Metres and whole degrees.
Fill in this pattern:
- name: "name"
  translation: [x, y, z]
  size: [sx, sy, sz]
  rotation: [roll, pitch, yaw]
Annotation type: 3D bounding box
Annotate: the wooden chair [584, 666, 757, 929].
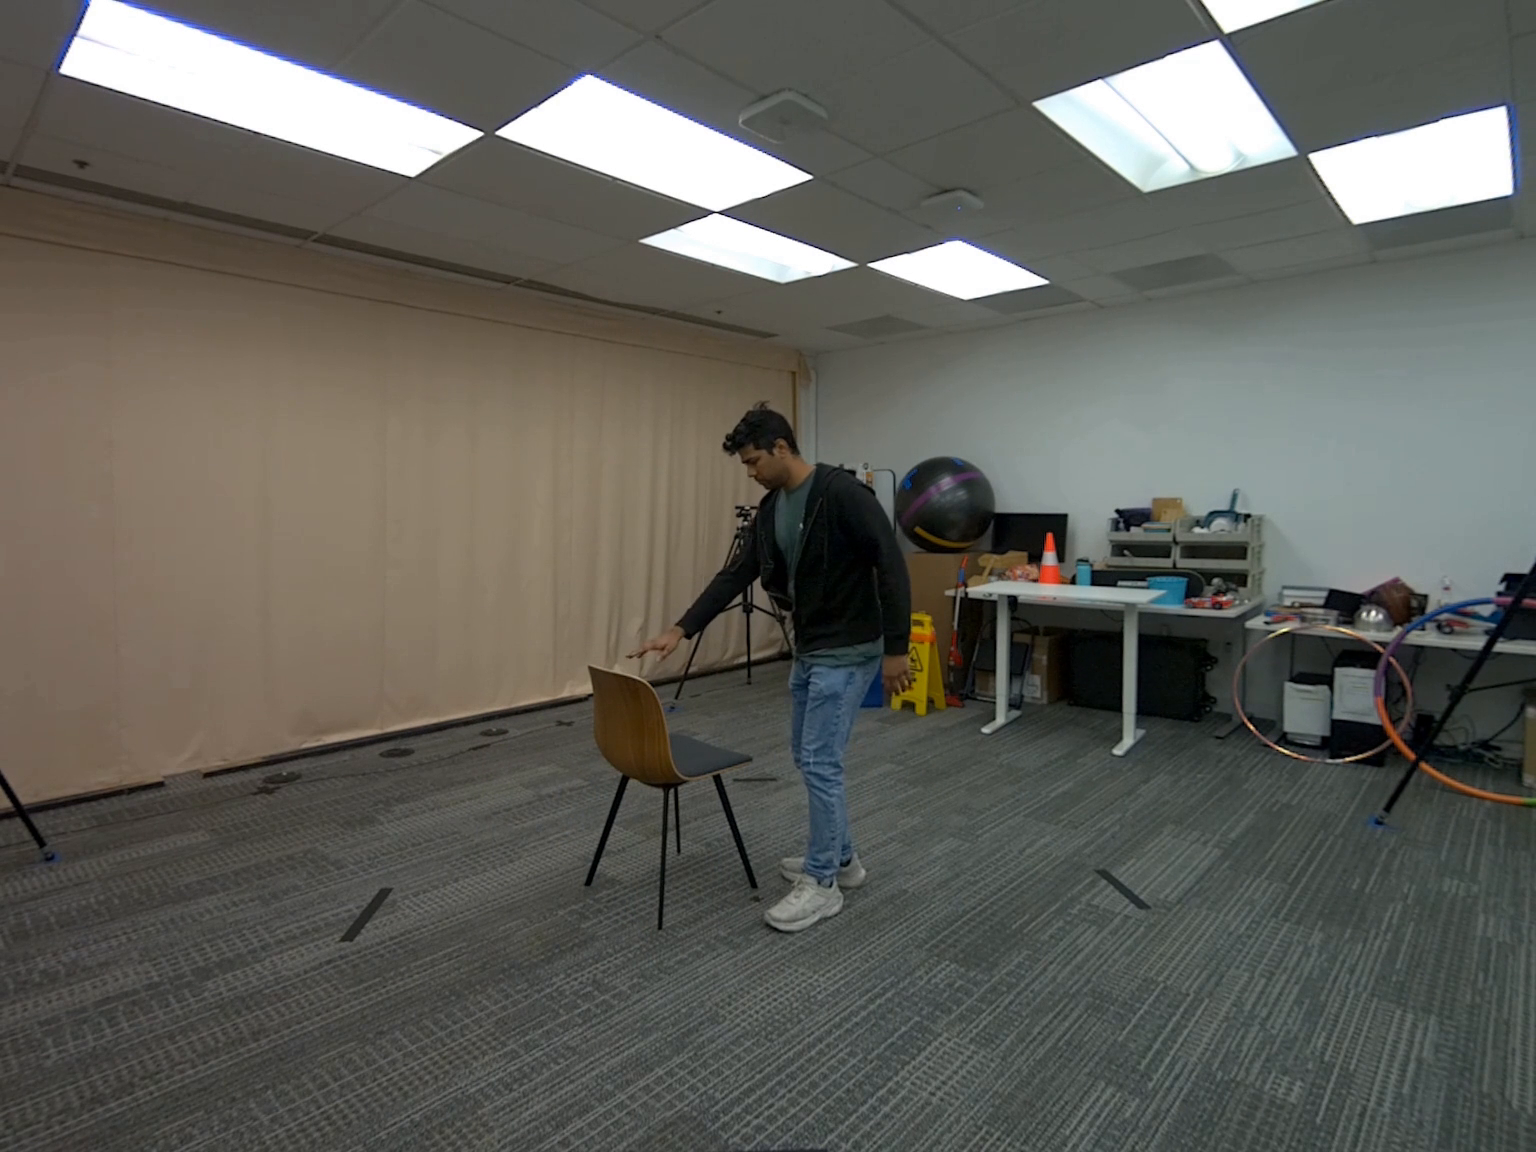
- name: "wooden chair"
  translation: [-0.351, 0.717, 3.057]
  size: [0.508, 0.874, 0.494]
  rotation: [-9, 7, -43]
